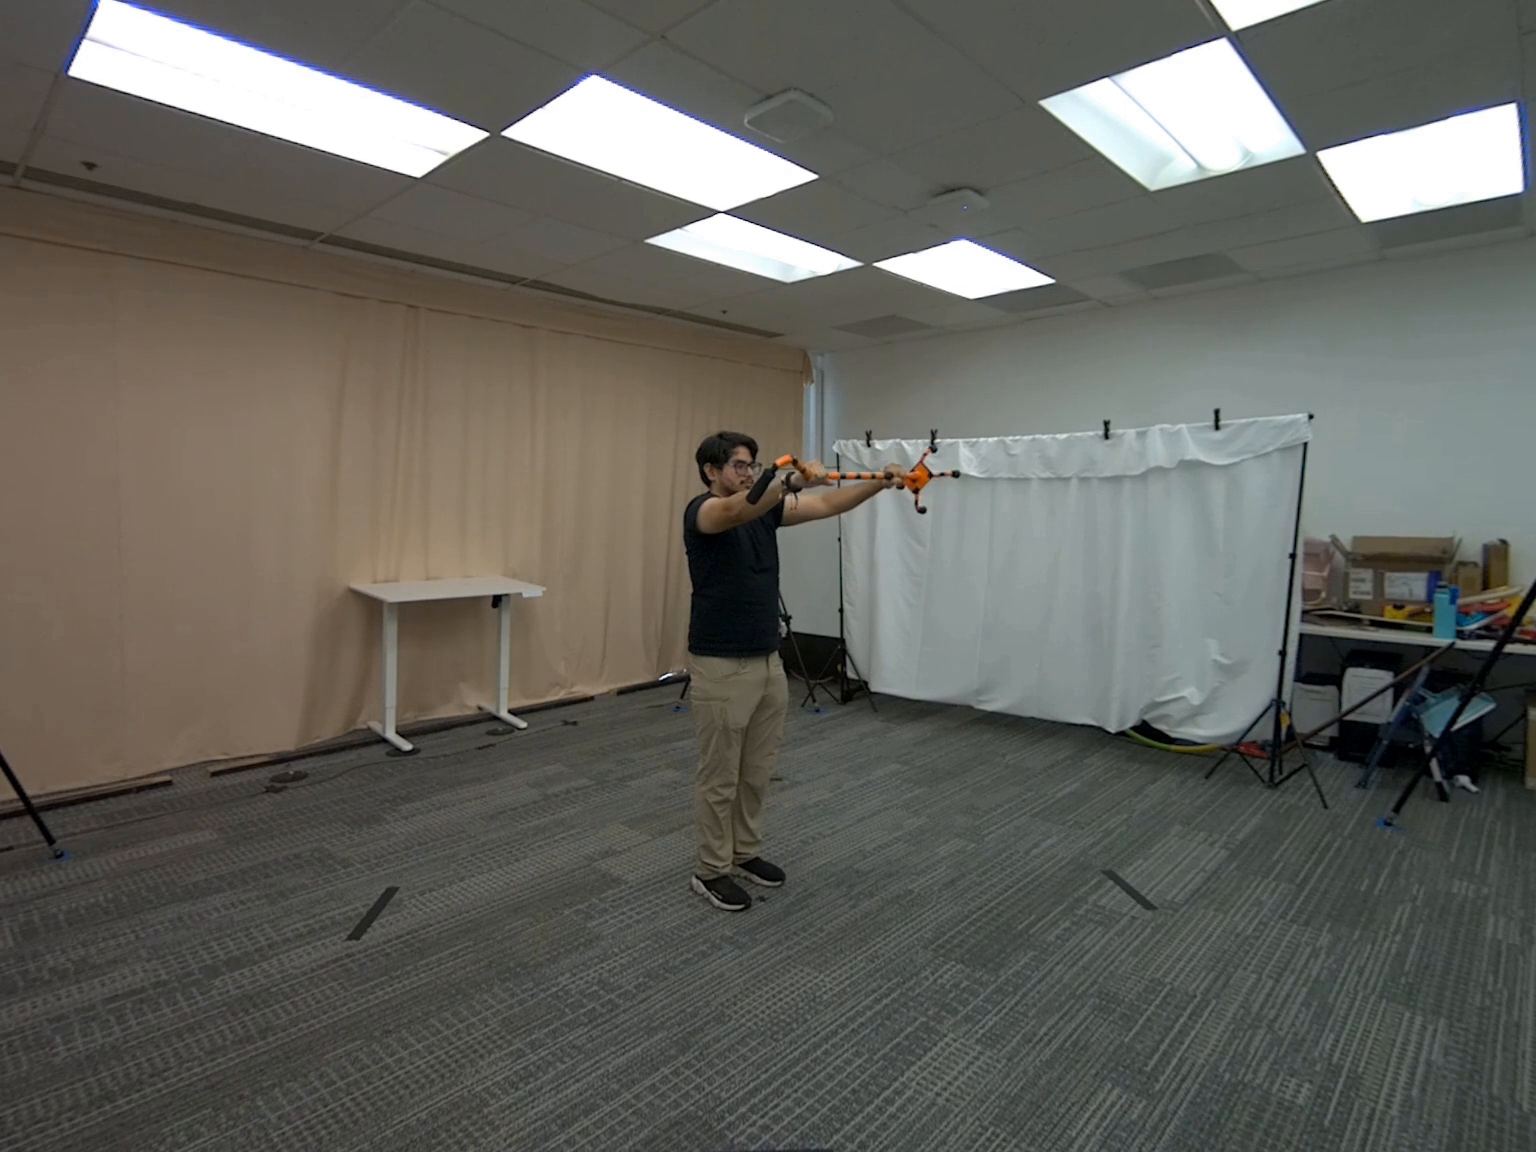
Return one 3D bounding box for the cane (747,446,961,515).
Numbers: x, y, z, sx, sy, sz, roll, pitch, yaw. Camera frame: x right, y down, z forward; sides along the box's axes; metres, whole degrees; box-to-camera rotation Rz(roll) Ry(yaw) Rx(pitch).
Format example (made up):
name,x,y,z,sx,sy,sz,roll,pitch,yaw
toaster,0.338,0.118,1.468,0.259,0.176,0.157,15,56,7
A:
name,x,y,z,sx,sy,sz,roll,pitch,yaw
cane,0.284,-0.301,2.615,0.881,0.155,0.207,-7,-36,-49
